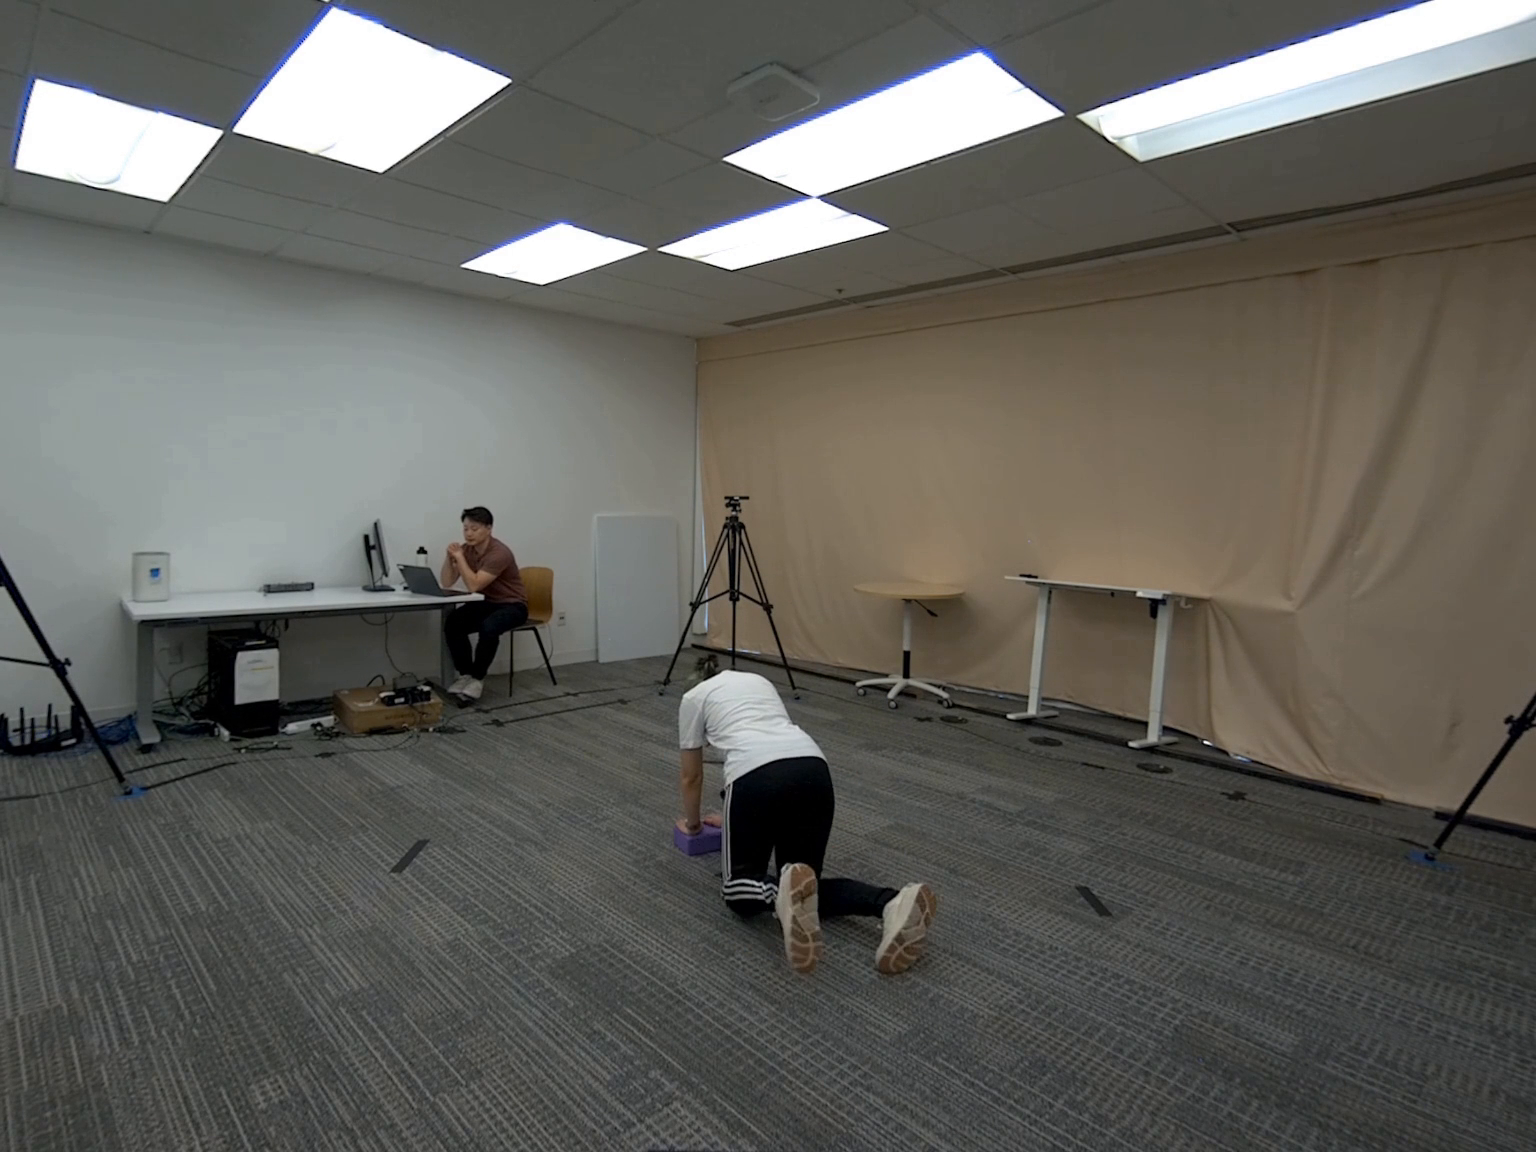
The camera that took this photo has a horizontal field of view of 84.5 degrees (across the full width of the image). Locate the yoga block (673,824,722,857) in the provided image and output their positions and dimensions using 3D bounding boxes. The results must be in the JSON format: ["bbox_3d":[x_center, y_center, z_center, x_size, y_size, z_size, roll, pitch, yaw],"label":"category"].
[{"bbox_3d":[-0.257,1.039,3.366,0.225,0.076,0.152,-2,6,-30],"label":"yoga block"}]
